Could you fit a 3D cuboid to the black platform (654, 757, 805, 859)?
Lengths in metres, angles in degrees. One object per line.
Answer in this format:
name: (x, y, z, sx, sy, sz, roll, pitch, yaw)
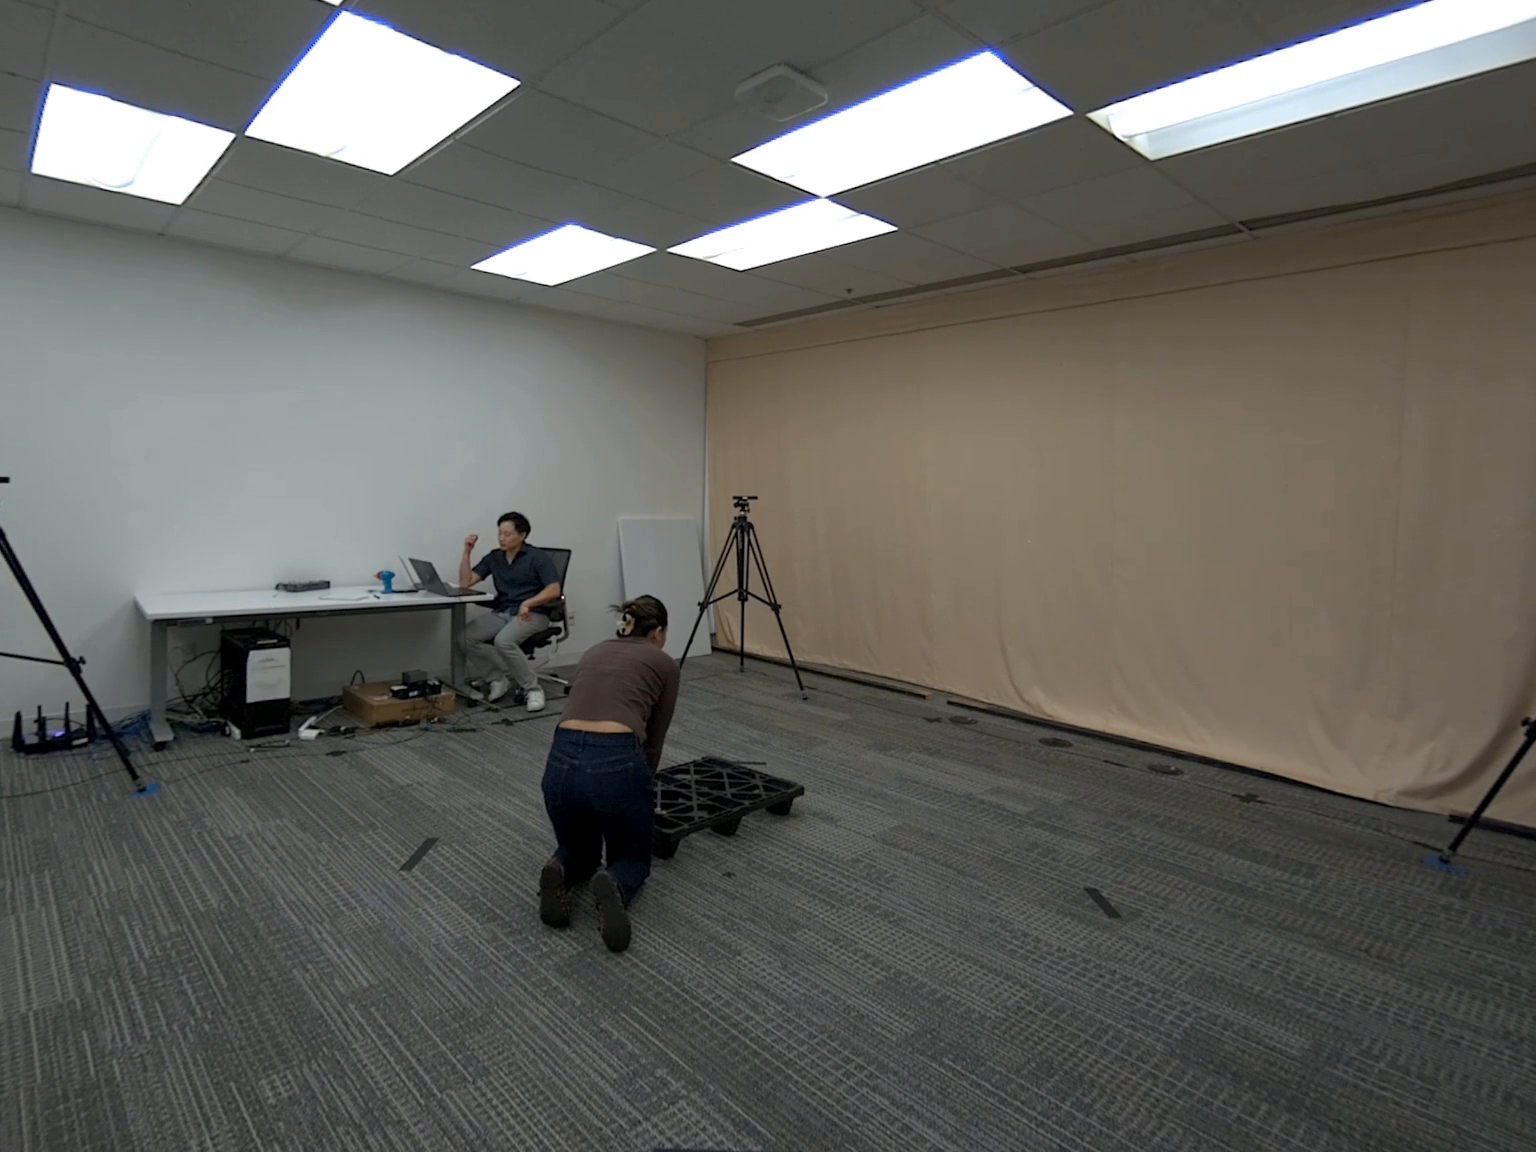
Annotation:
black platform: (-0.335, 0.988, 3.633, 0.620, 0.143, 0.787, 5, 6, 43)
